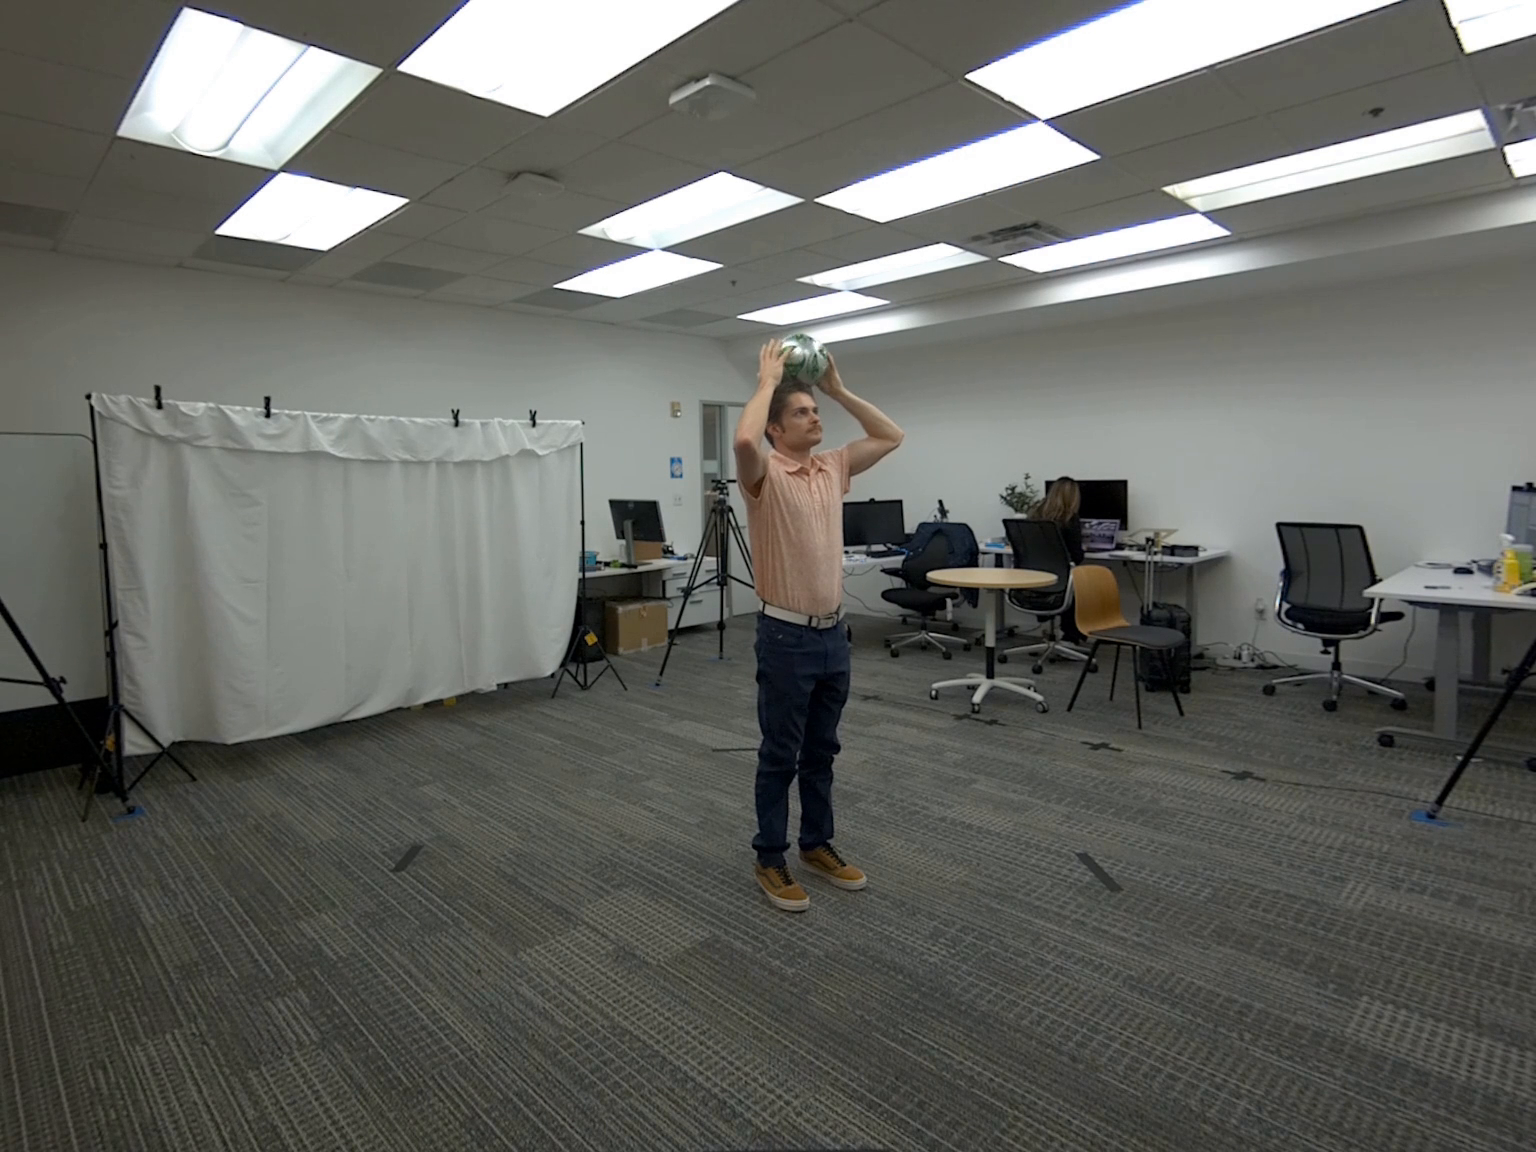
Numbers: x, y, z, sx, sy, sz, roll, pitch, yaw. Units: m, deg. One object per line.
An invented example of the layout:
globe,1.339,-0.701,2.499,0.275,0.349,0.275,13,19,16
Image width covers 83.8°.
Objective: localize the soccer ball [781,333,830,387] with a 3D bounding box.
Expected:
soccer ball,0.102,-0.720,2.869,0.187,0.187,0.188,-1,5,-2
